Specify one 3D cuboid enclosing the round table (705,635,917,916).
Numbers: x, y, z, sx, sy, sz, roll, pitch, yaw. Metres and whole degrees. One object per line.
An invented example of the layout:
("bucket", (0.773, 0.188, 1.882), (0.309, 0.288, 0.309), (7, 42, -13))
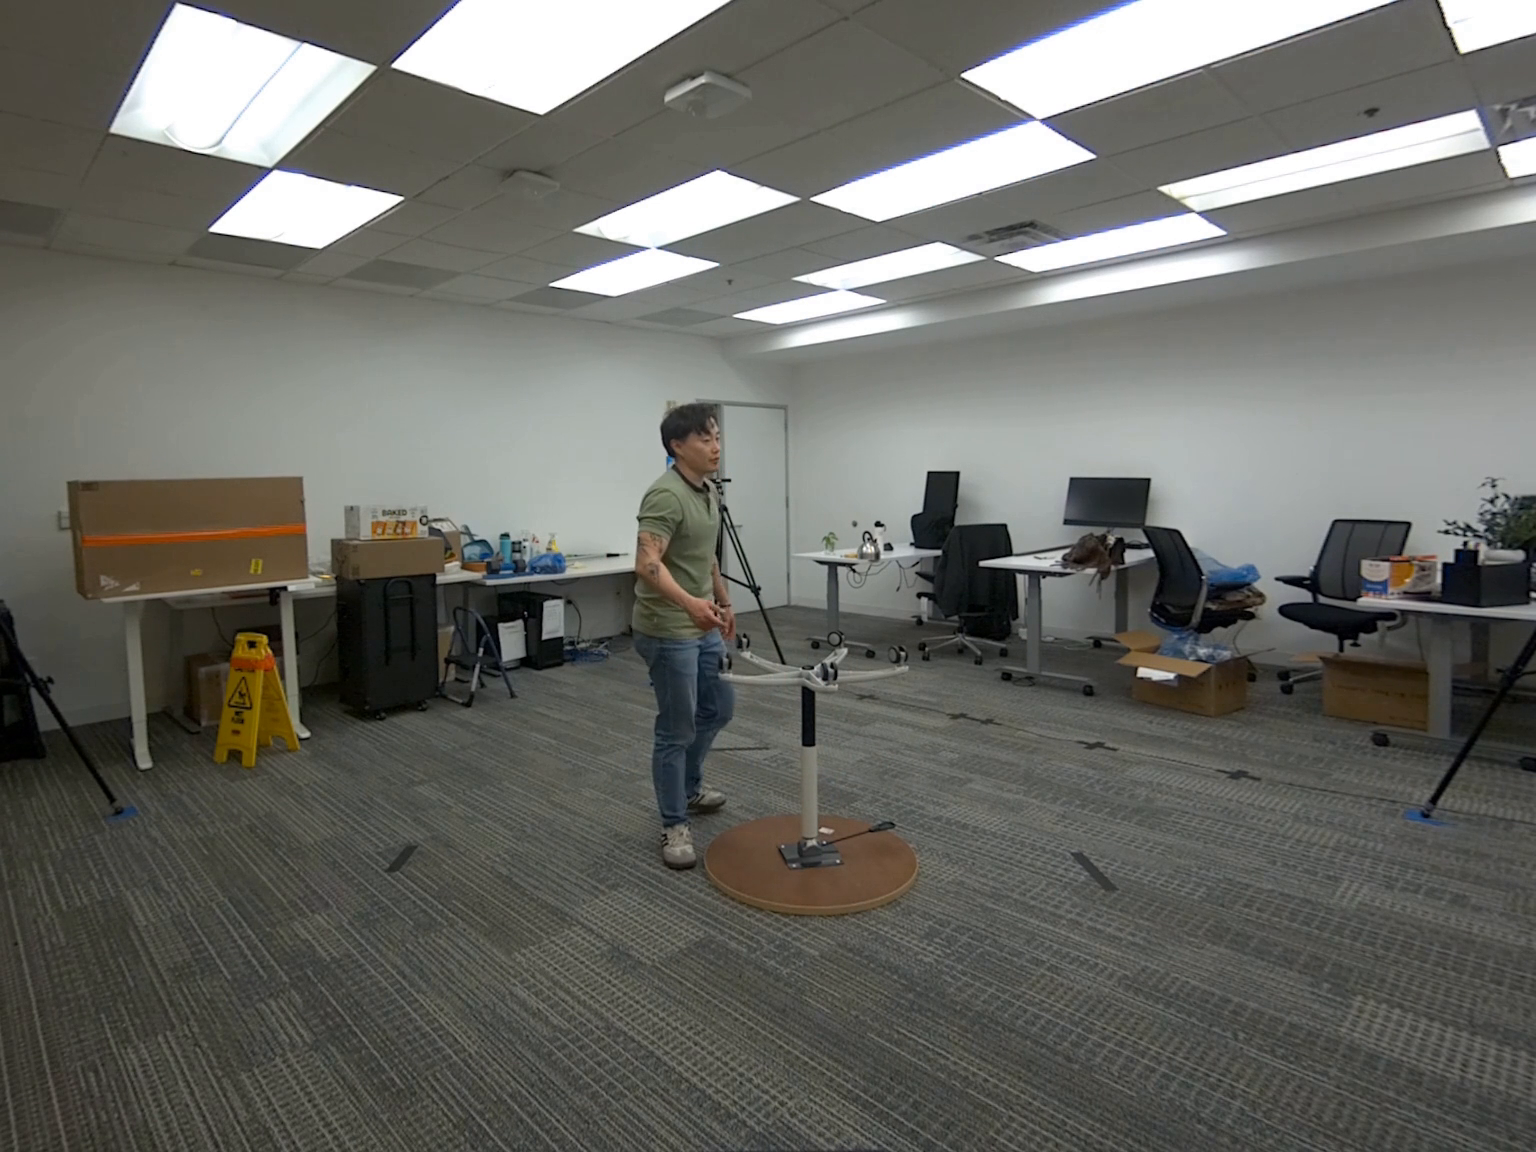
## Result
("round table", (0.154, 0.648, 3.076), (0.763, 0.791, 0.768), (-1, 5, -2))
